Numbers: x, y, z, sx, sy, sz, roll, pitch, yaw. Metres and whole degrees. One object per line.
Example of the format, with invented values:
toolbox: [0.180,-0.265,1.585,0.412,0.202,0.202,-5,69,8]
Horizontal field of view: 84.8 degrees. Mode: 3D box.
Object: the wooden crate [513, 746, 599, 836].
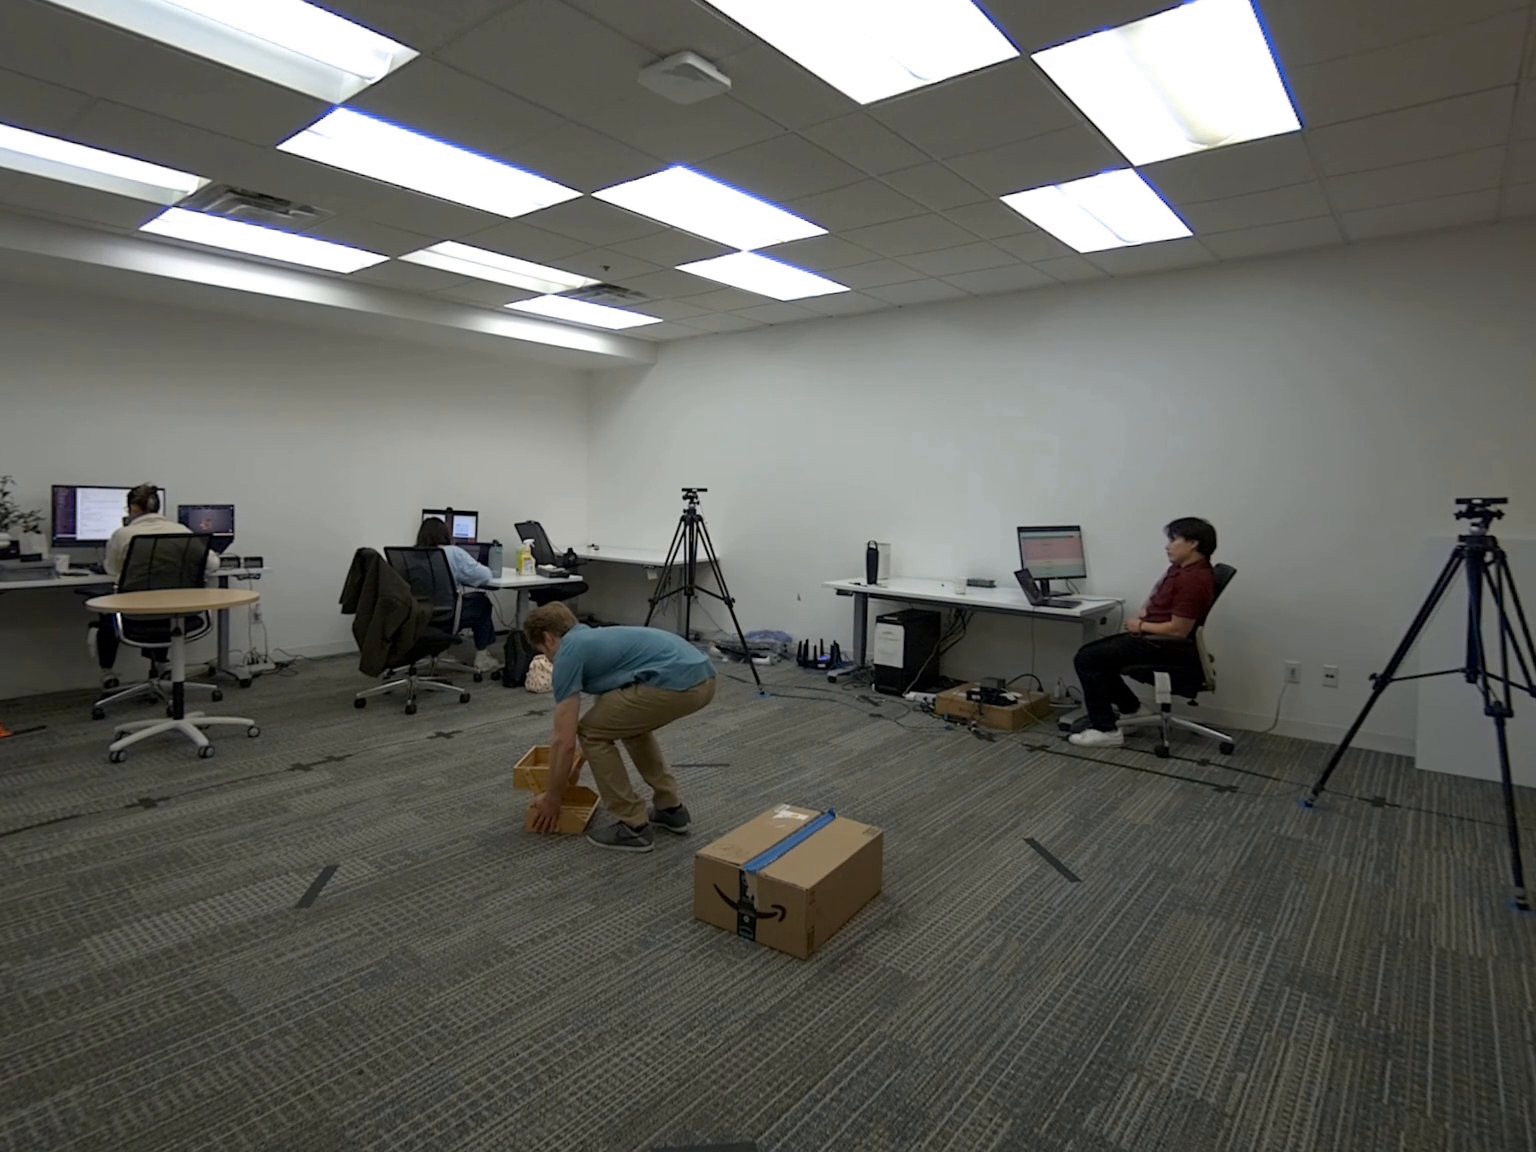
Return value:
wooden crate: [-0.883,0.881,3.562,0.303,0.272,0.325,0,4,1]
